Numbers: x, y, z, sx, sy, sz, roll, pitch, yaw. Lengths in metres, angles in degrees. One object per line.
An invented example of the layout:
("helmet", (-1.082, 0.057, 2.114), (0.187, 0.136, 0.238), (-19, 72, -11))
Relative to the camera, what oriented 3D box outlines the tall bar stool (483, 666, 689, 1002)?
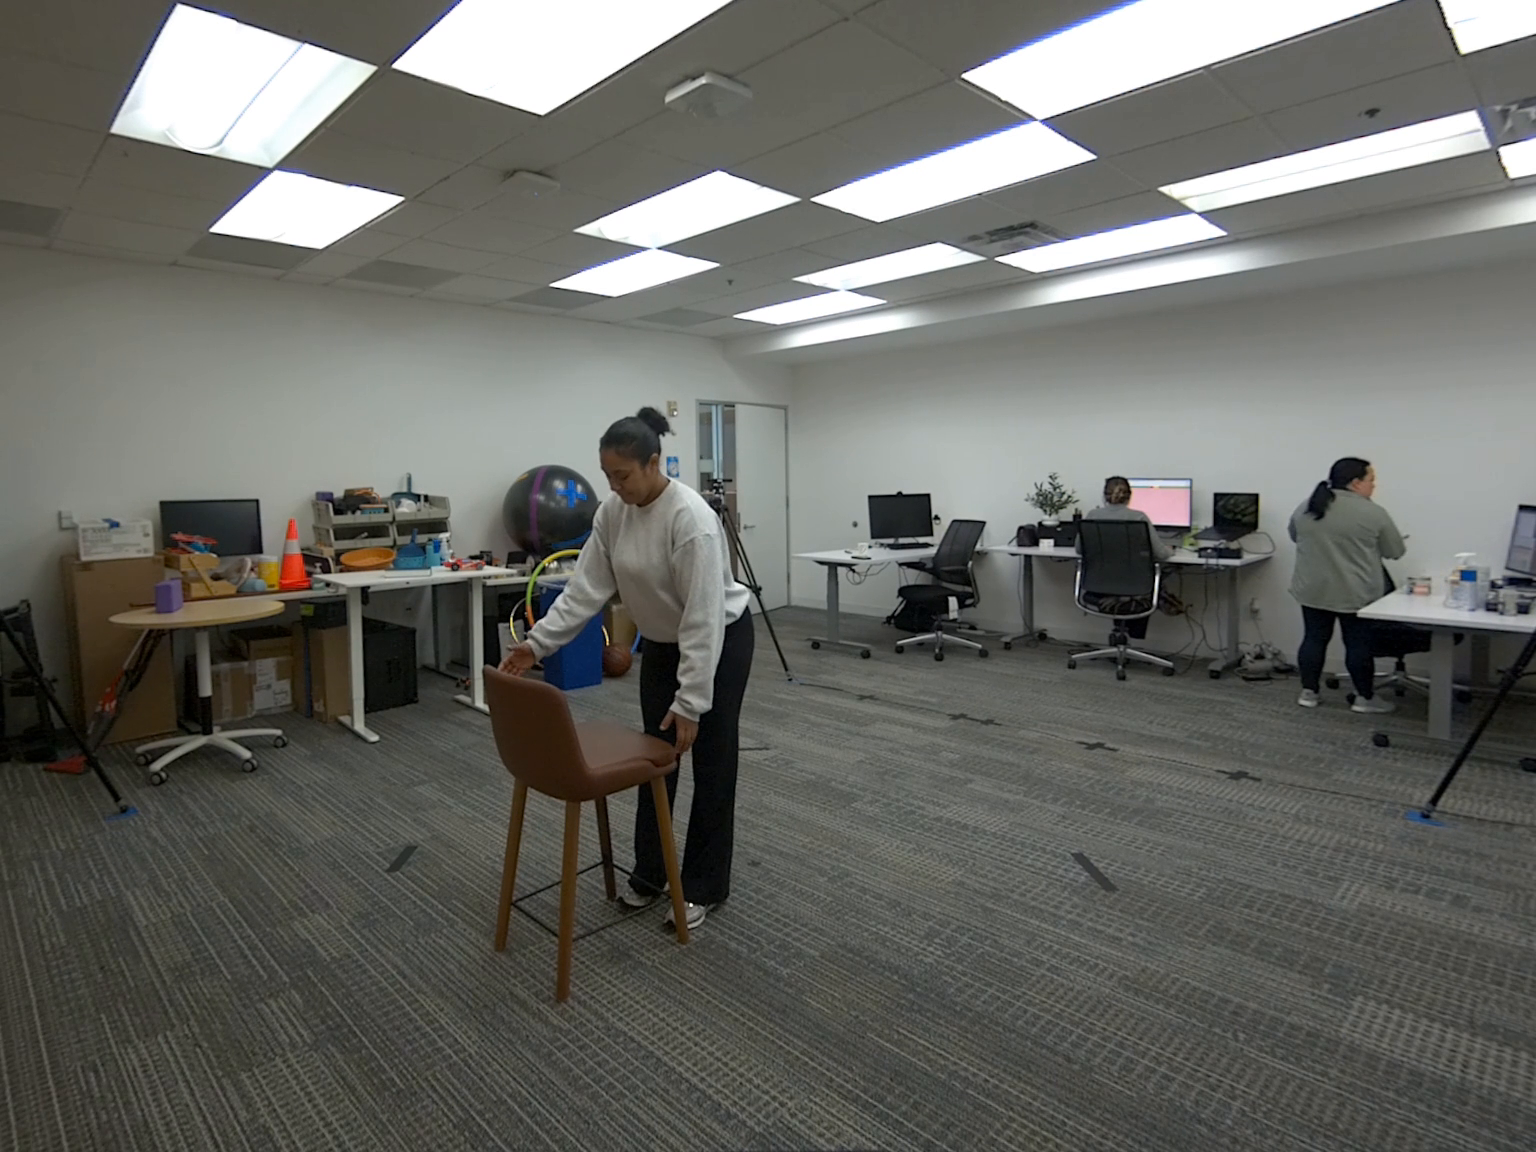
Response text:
("tall bar stool", (-0.539, 0.676, 2.552), (0.456, 0.885, 0.471), (-7, 8, -43))
